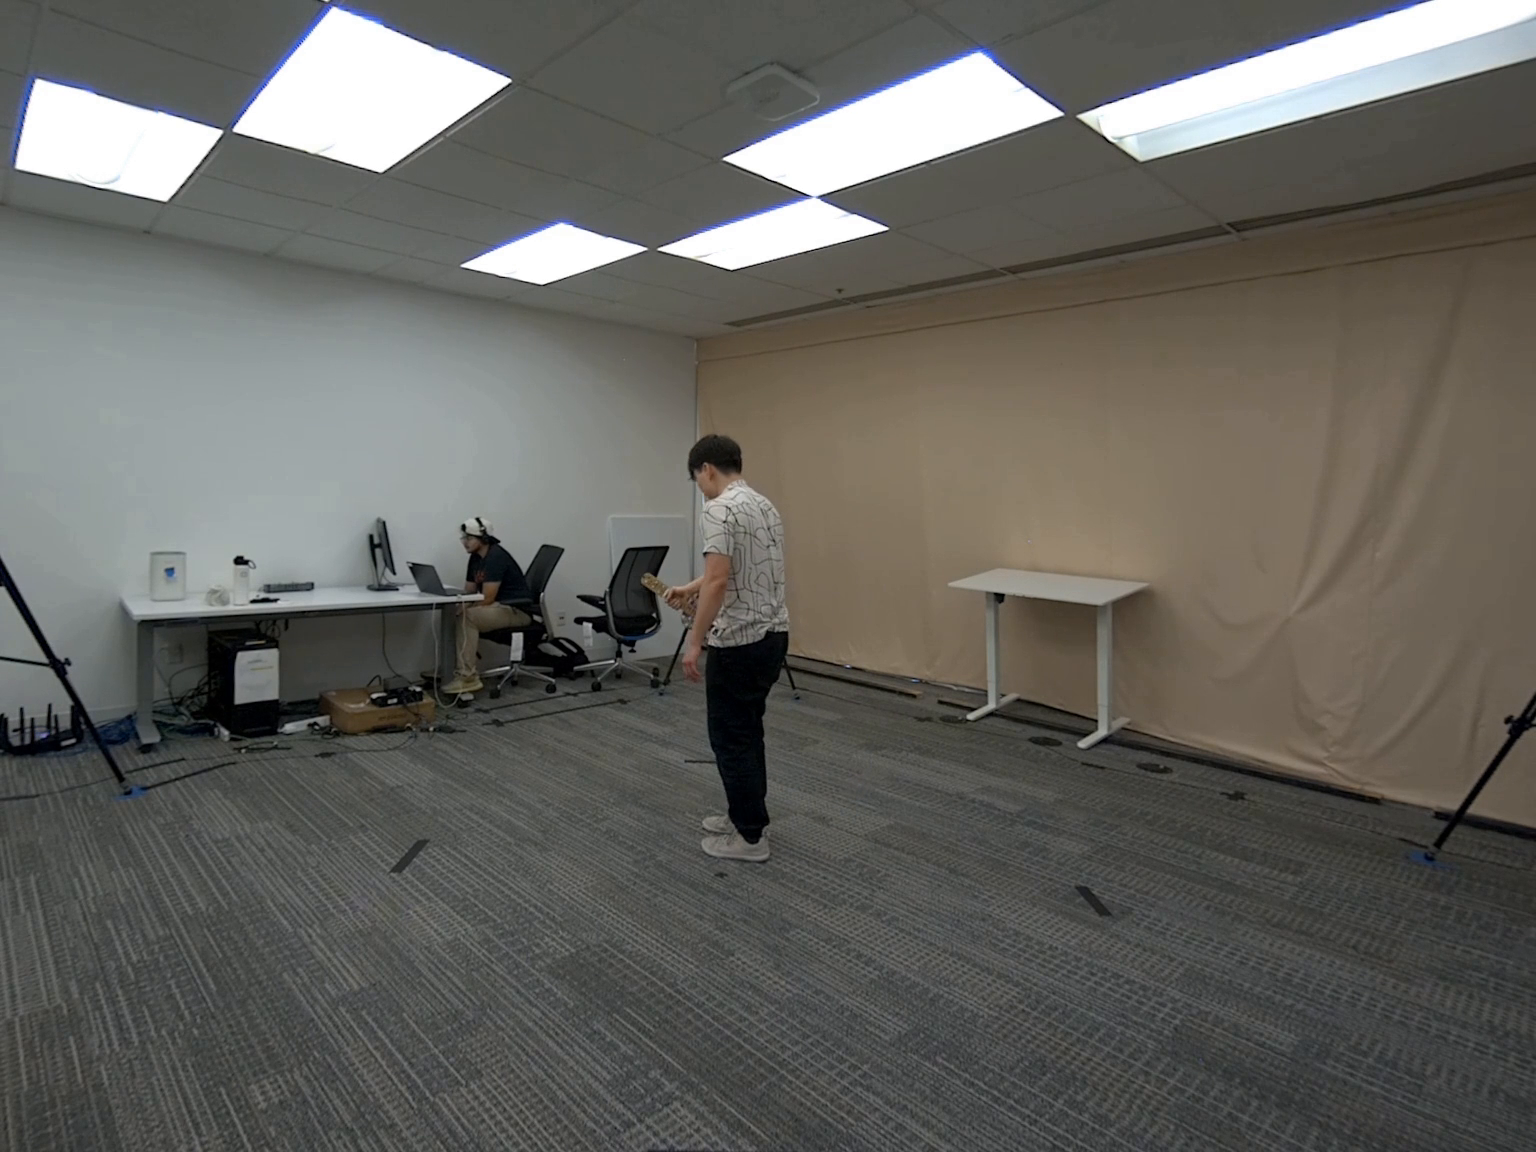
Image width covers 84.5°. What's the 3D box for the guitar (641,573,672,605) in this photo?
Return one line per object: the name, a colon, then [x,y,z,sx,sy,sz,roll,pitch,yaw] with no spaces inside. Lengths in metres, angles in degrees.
guitar: [-0.344,0.132,3.741,0.500,0.193,0.070,43,-3,5]
